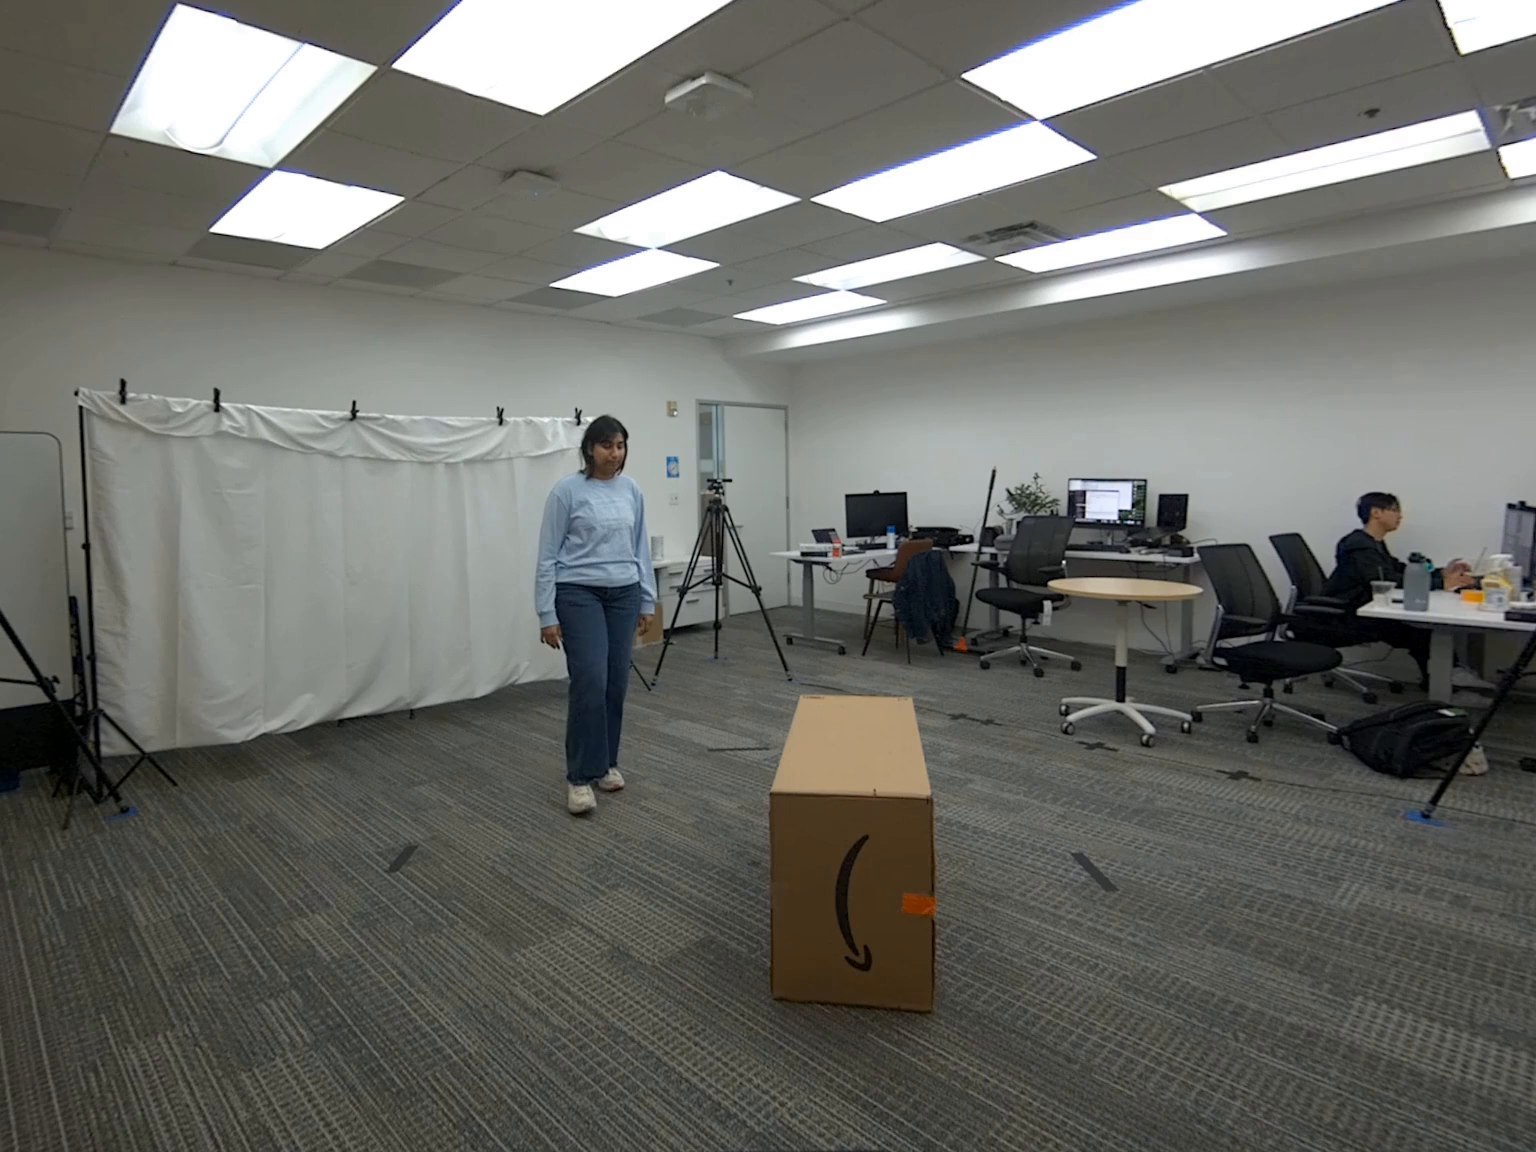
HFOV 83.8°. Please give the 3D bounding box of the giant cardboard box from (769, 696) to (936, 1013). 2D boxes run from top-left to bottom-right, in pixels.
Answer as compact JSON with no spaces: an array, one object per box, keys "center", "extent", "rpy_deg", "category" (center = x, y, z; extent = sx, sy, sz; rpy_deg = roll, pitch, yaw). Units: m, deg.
[{"center":[0.281,0.791,2.735],"extent":[0.430,0.575,1.022],"rpy_deg":[0,6,7],"category":"giant cardboard box"}]
